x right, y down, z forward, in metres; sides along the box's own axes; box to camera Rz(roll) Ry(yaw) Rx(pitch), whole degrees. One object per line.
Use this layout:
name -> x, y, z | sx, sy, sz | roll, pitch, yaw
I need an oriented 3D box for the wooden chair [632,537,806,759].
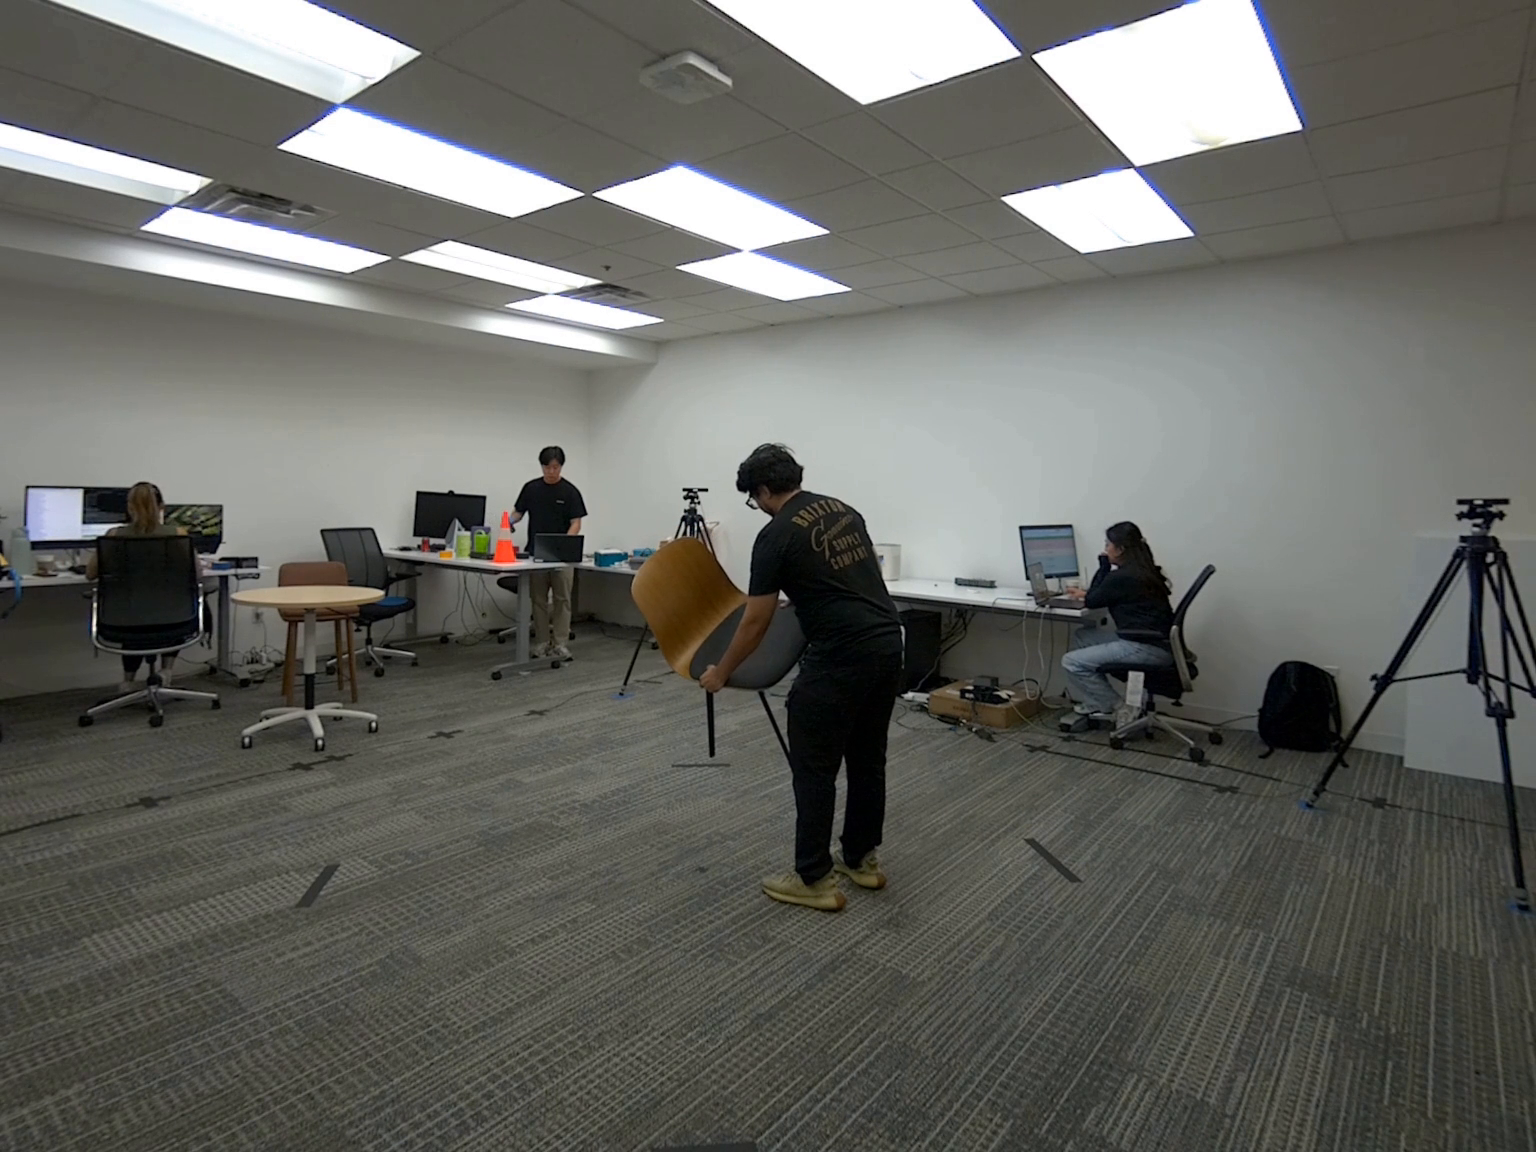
wooden chair -> -0.100, 0.279, 3.222 | 0.540, 0.851, 0.477 | 0, 36, 44
